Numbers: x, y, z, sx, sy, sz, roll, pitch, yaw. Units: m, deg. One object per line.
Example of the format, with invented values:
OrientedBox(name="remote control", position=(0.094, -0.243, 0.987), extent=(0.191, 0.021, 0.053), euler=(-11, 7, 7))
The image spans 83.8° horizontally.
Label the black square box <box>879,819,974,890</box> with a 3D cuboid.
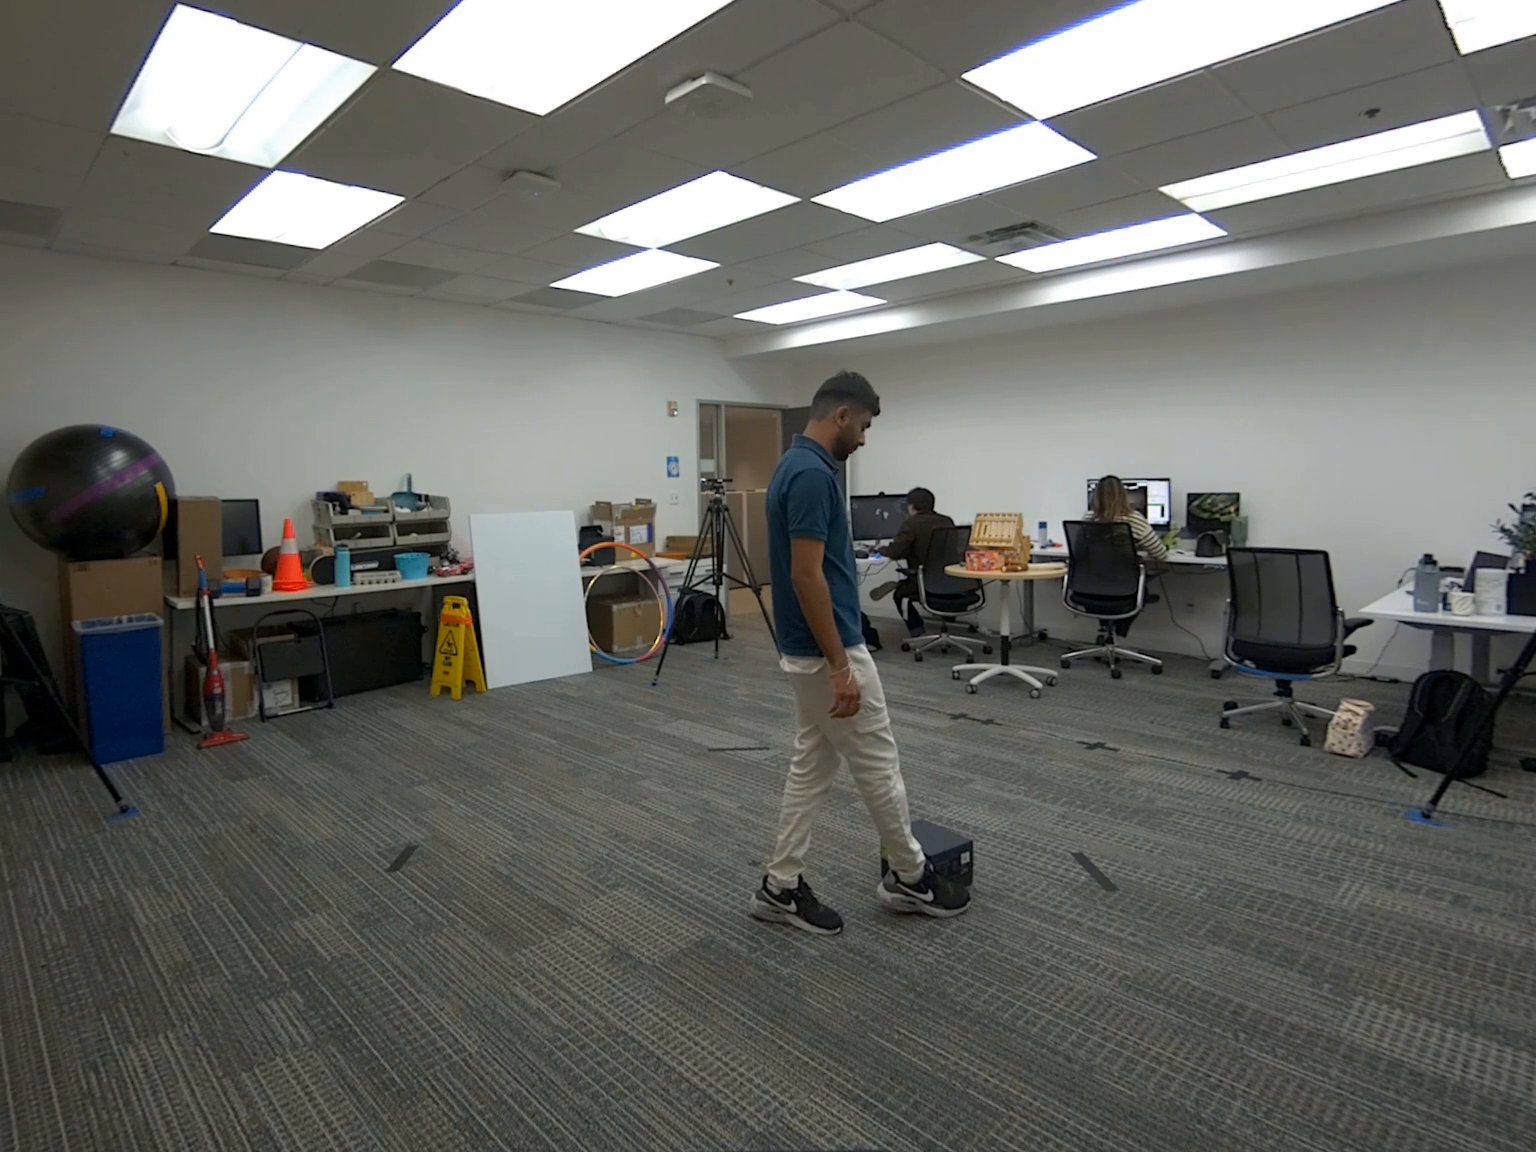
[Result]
OrientedBox(name="black square box", position=(0.547, 0.972, 2.934), extent=(0.211, 0.155, 0.235), euler=(-5, 7, -36))
